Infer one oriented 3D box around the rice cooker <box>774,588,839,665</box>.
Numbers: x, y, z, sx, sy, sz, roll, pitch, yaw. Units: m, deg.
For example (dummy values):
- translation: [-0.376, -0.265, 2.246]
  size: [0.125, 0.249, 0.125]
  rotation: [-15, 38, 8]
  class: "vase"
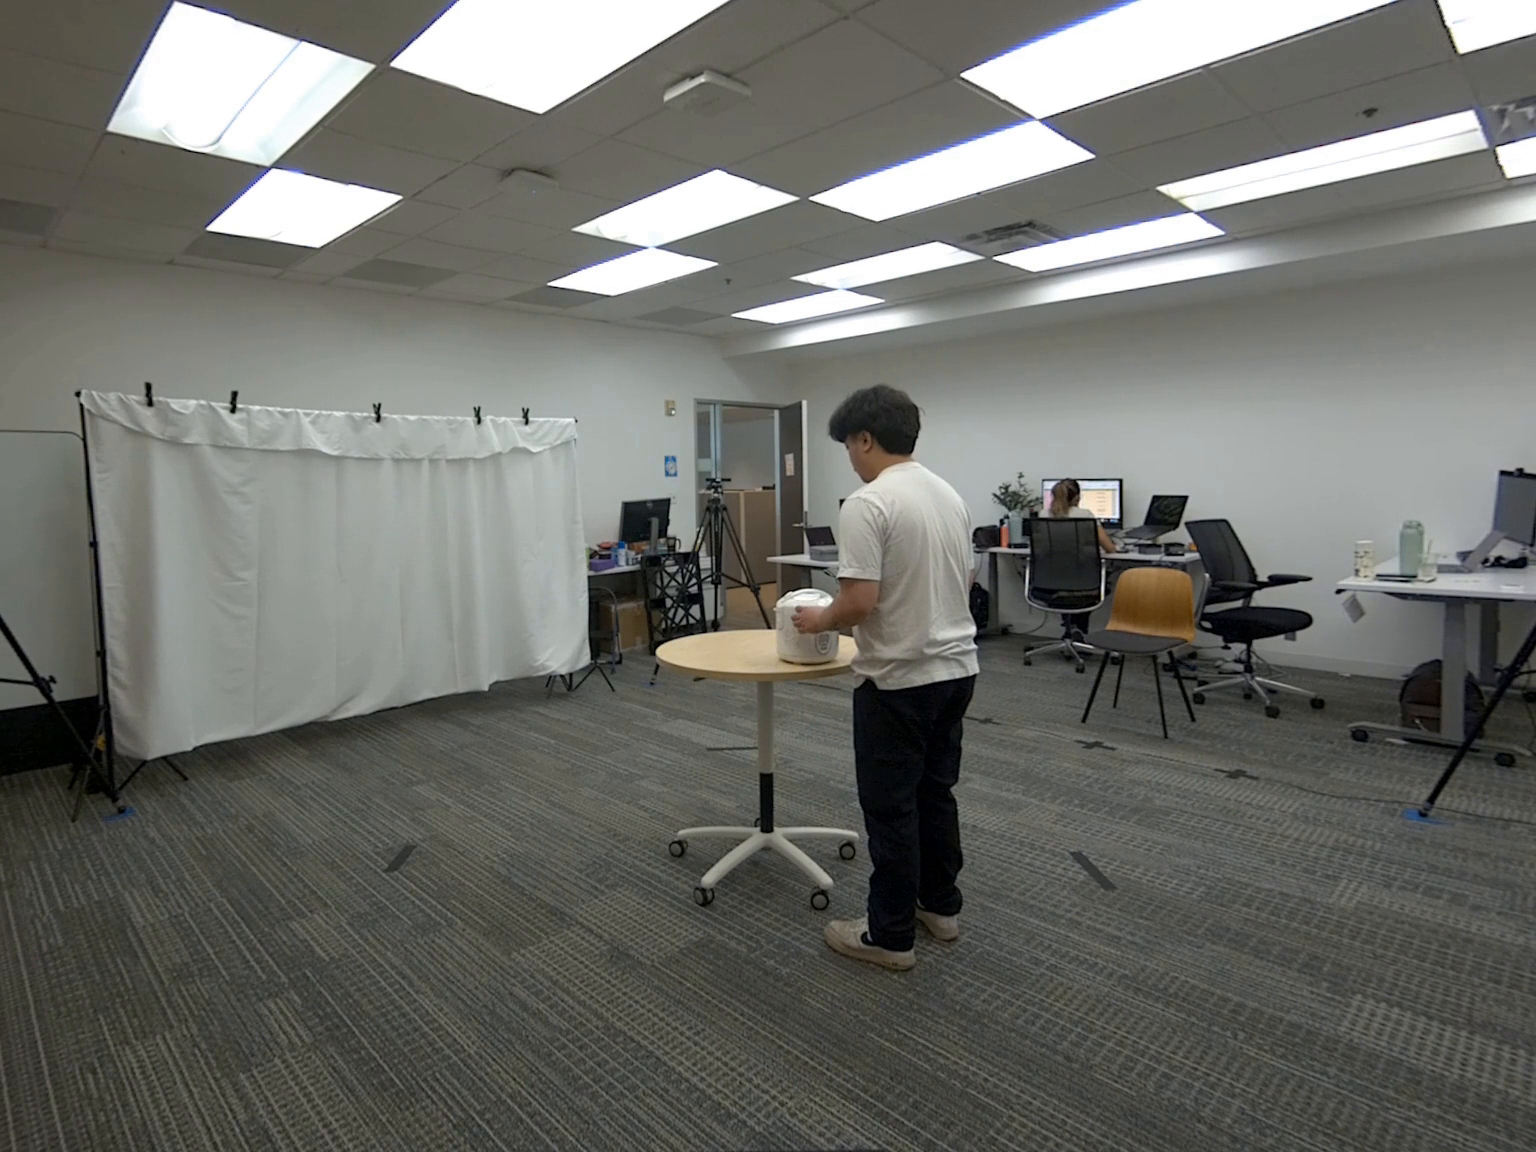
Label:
- translation: [0.135, 0.161, 2.805]
  size: [0.216, 0.232, 0.222]
  rotation: [-4, 5, -24]
  class: "rice cooker"
